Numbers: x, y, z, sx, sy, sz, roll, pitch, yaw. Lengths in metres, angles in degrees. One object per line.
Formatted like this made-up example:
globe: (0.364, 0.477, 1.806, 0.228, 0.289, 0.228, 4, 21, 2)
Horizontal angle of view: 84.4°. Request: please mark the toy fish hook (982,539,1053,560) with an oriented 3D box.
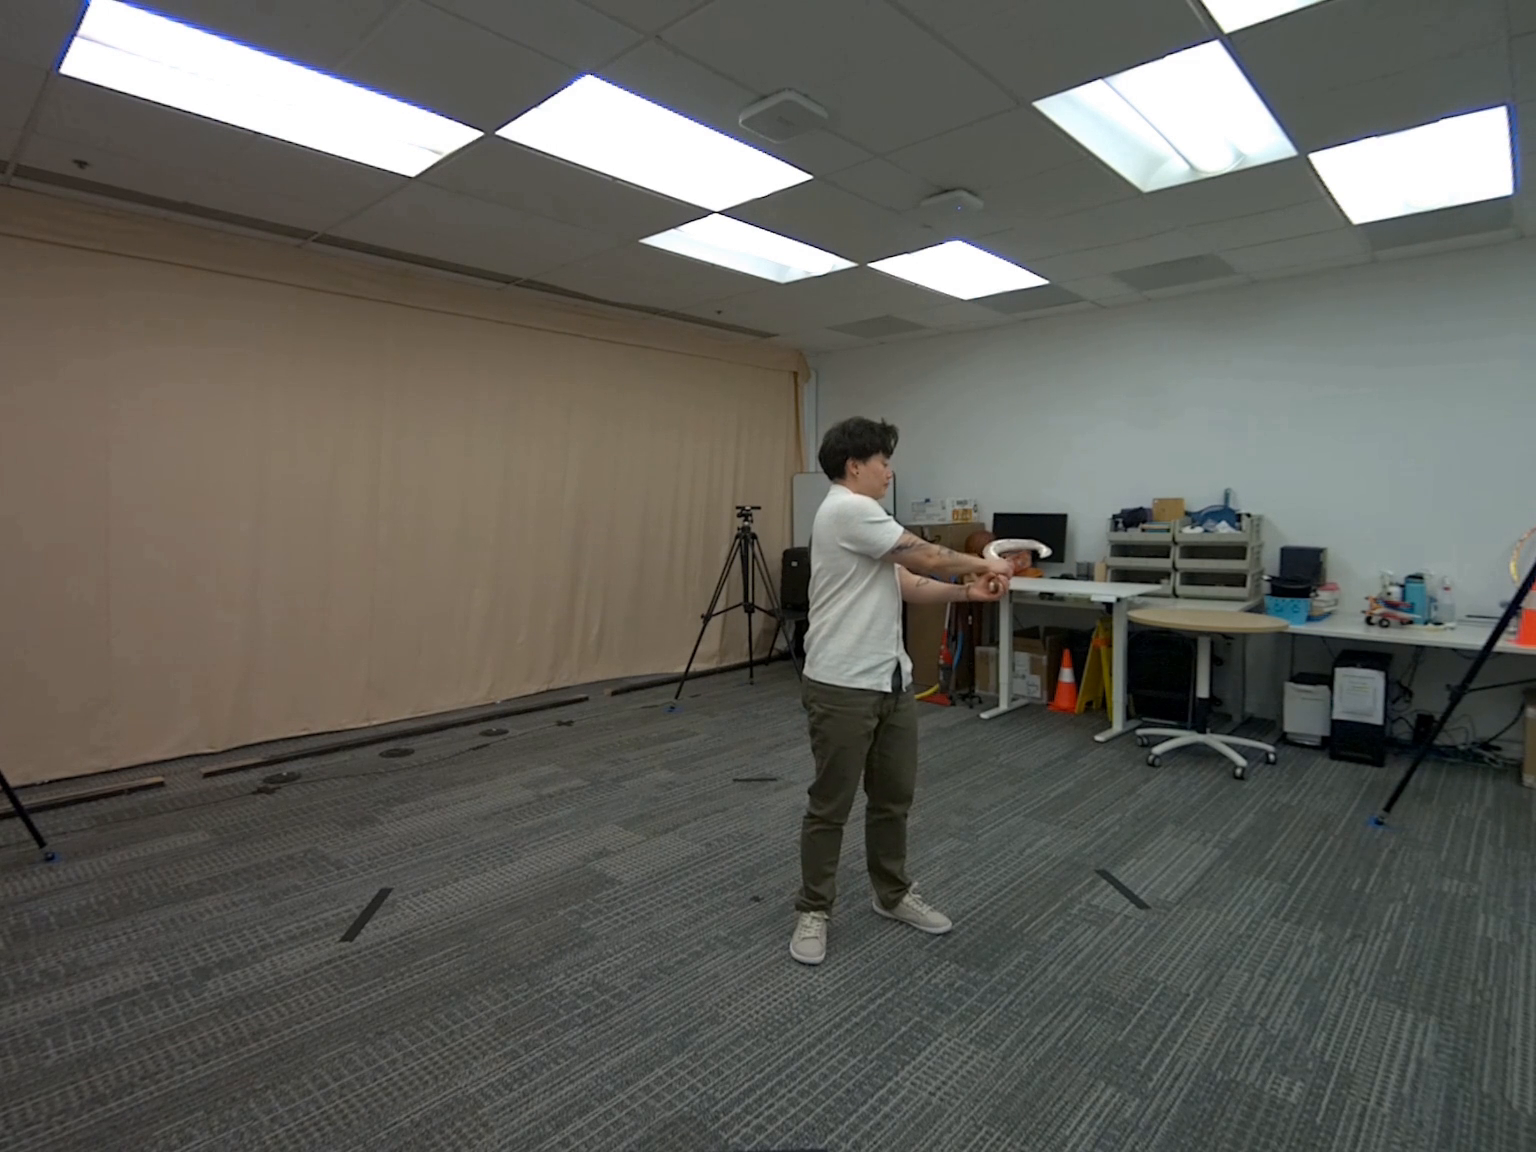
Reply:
toy fish hook: (0.839, -0.043, 2.817, 0.229, 0.048, 0.503, -6, 17, 19)
